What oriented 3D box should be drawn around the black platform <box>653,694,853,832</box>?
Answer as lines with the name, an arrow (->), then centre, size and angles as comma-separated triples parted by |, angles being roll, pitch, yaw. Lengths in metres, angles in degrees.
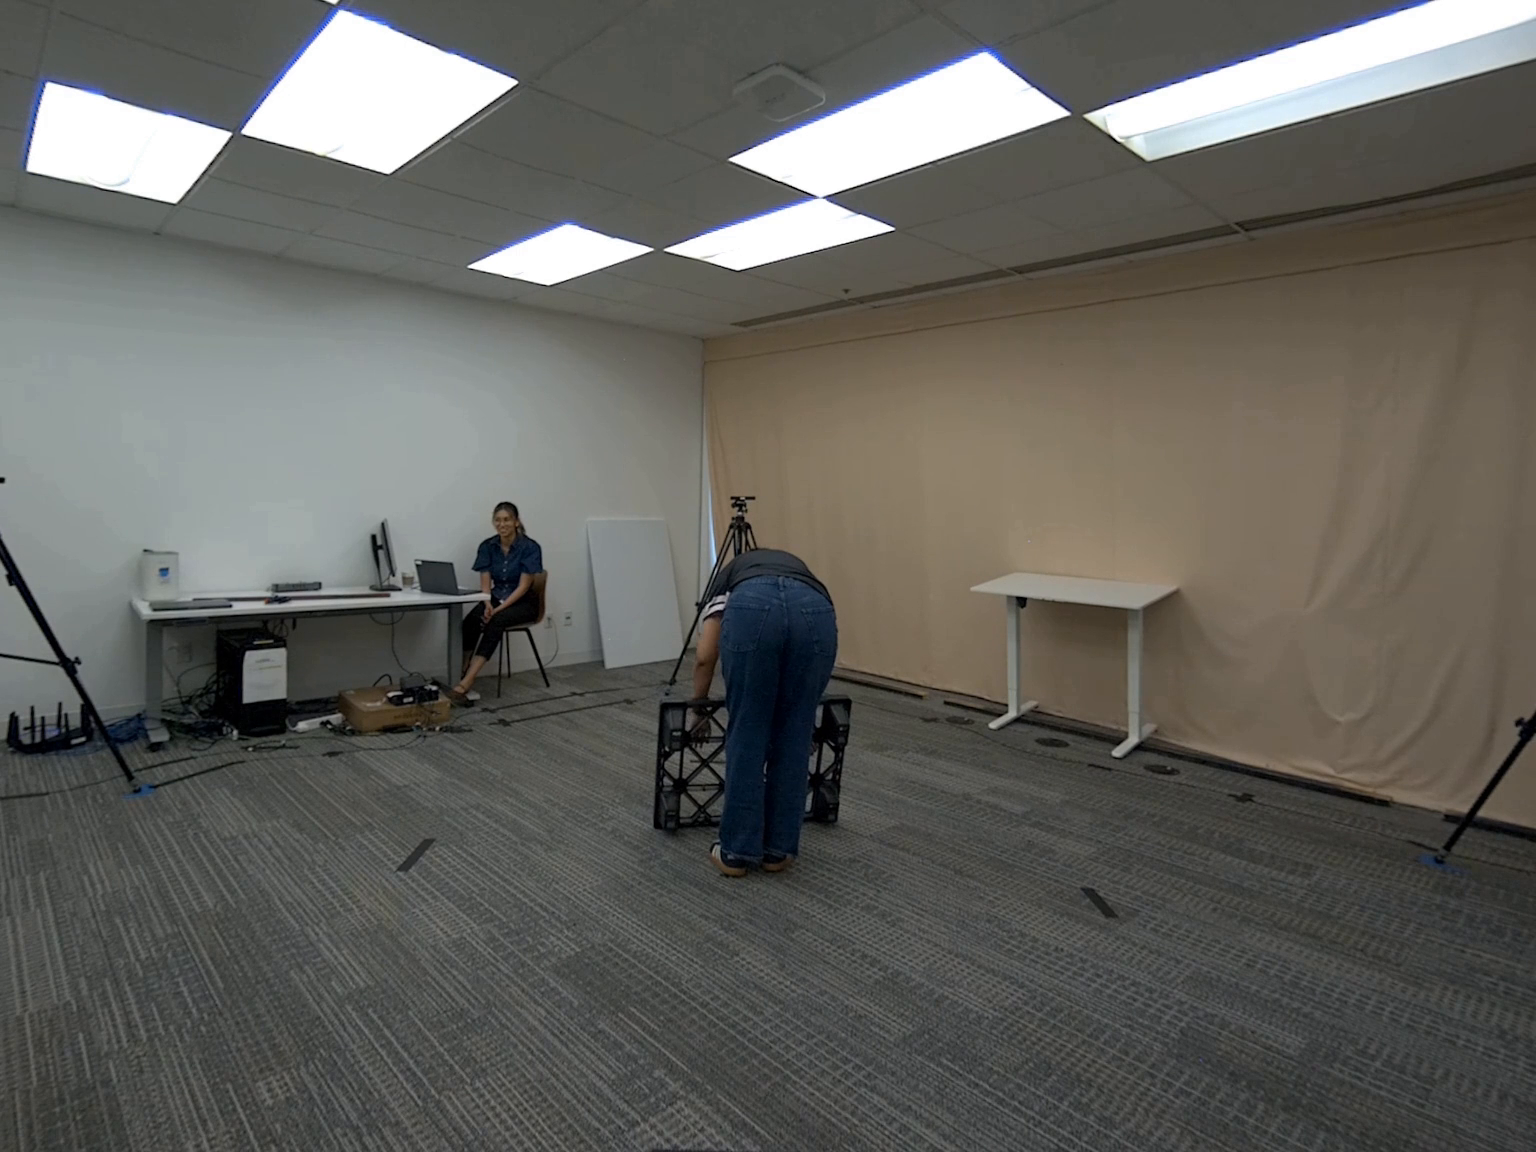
black platform -> -0.069, 0.799, 3.479 | 0.798, 0.598, 0.146 | 0, 18, -11
